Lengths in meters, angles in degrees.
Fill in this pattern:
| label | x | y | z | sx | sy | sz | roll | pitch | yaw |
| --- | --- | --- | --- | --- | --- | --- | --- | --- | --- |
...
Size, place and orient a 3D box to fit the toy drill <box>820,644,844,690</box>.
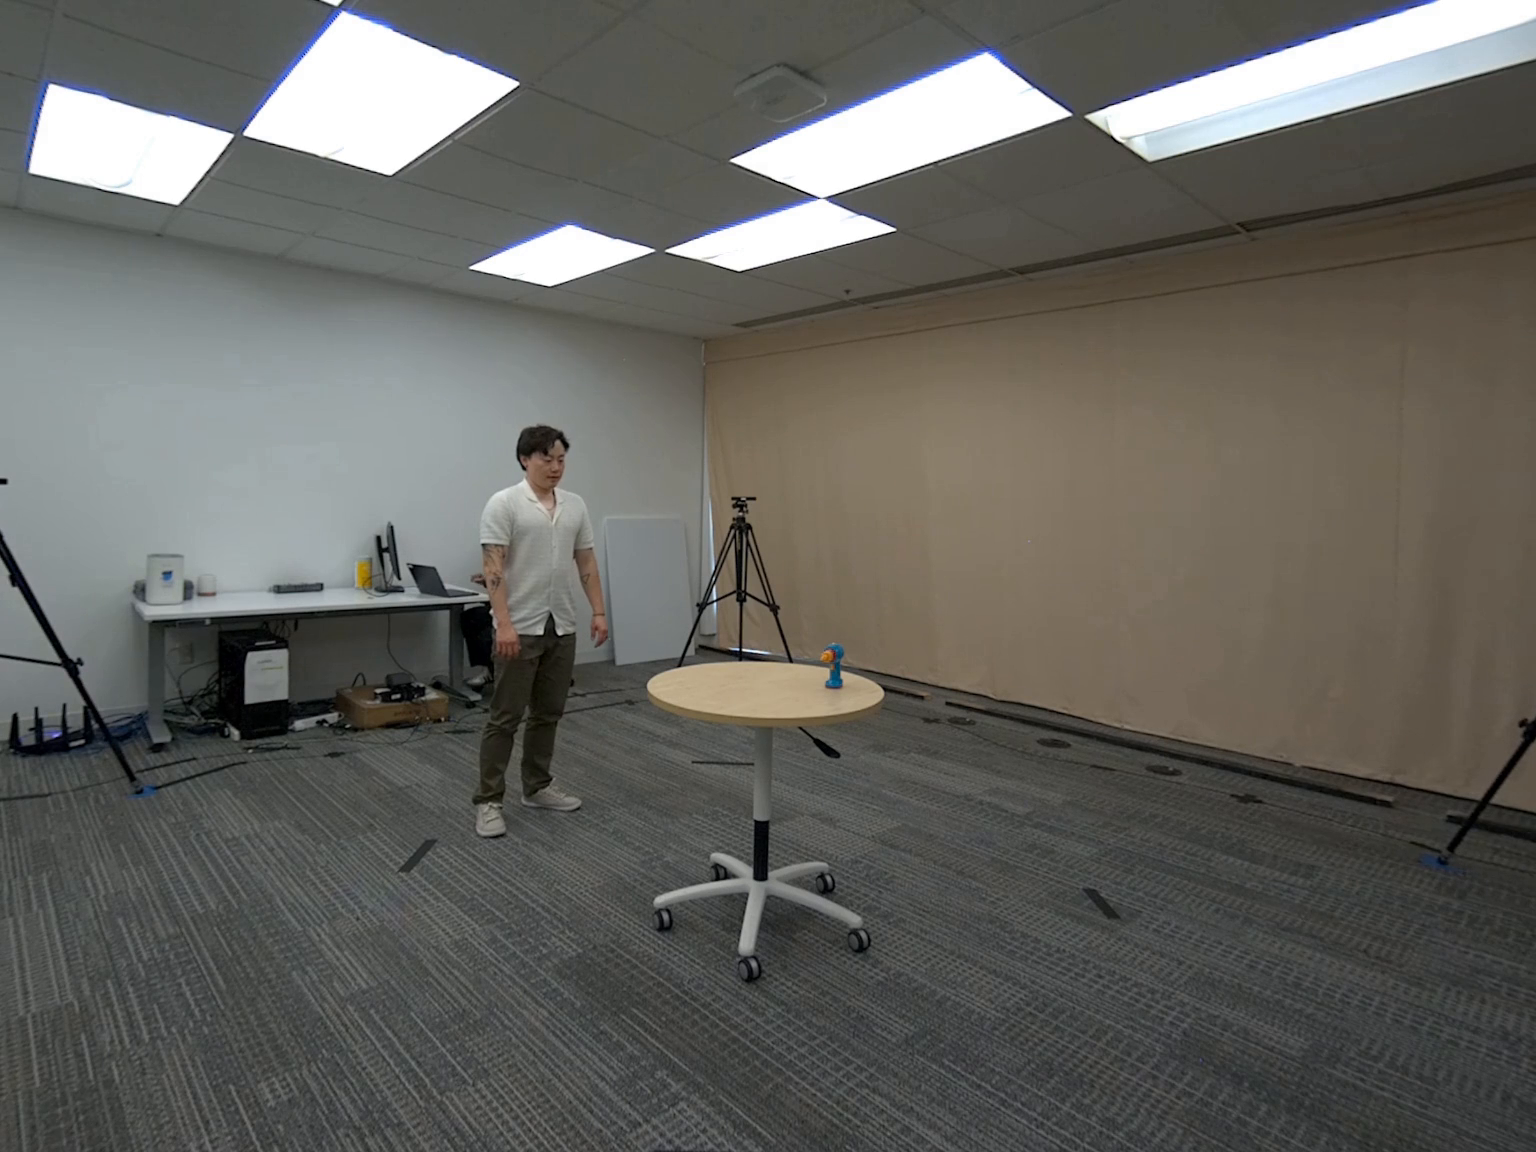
| label | x | y | z | sx | sy | sz | roll | pitch | yaw |
| --- | --- | --- | --- | --- | --- | --- | --- | --- | --- |
| toy drill | 0.205 | 0.295 | 2.713 | 0.062 | 0.145 | 0.168 | 0 | 4 | 17 |
